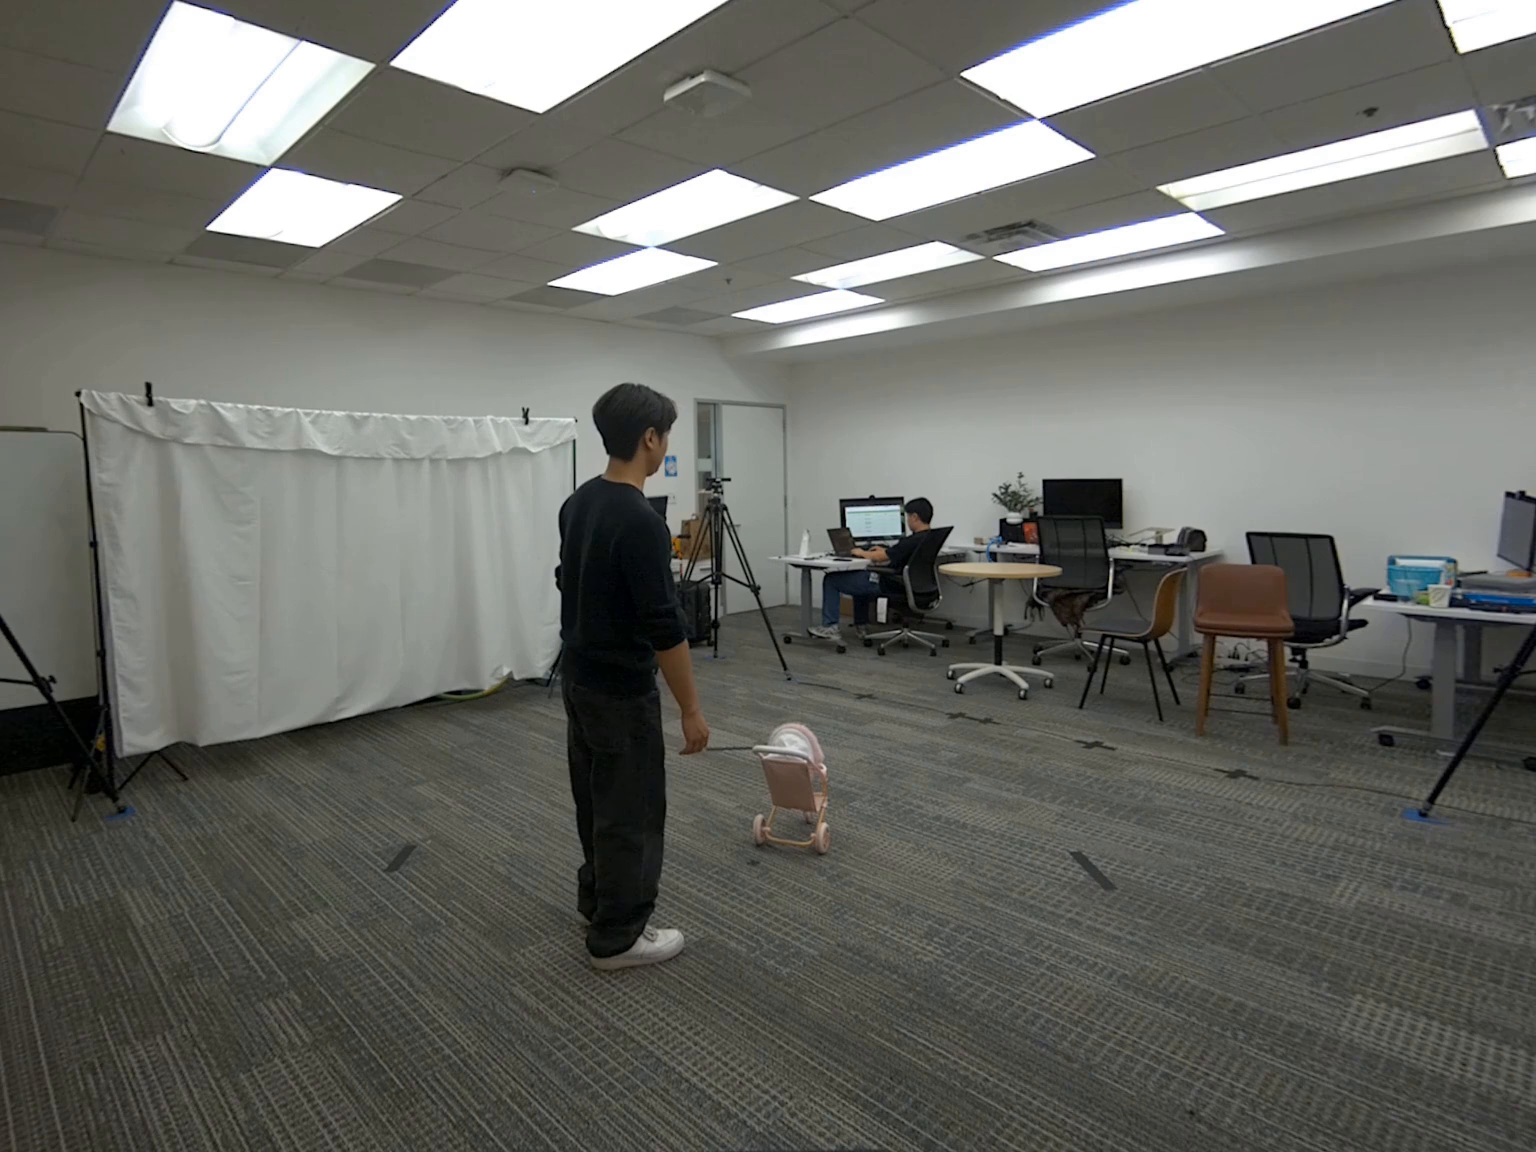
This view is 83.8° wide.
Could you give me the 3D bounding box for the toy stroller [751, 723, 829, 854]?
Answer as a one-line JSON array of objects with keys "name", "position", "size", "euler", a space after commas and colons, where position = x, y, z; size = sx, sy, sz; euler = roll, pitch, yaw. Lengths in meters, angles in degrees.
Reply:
[{"name": "toy stroller", "position": [0.108, 0.797, 3.273], "size": [0.288, 0.525, 0.340], "euler": [2, 21, 23]}]
